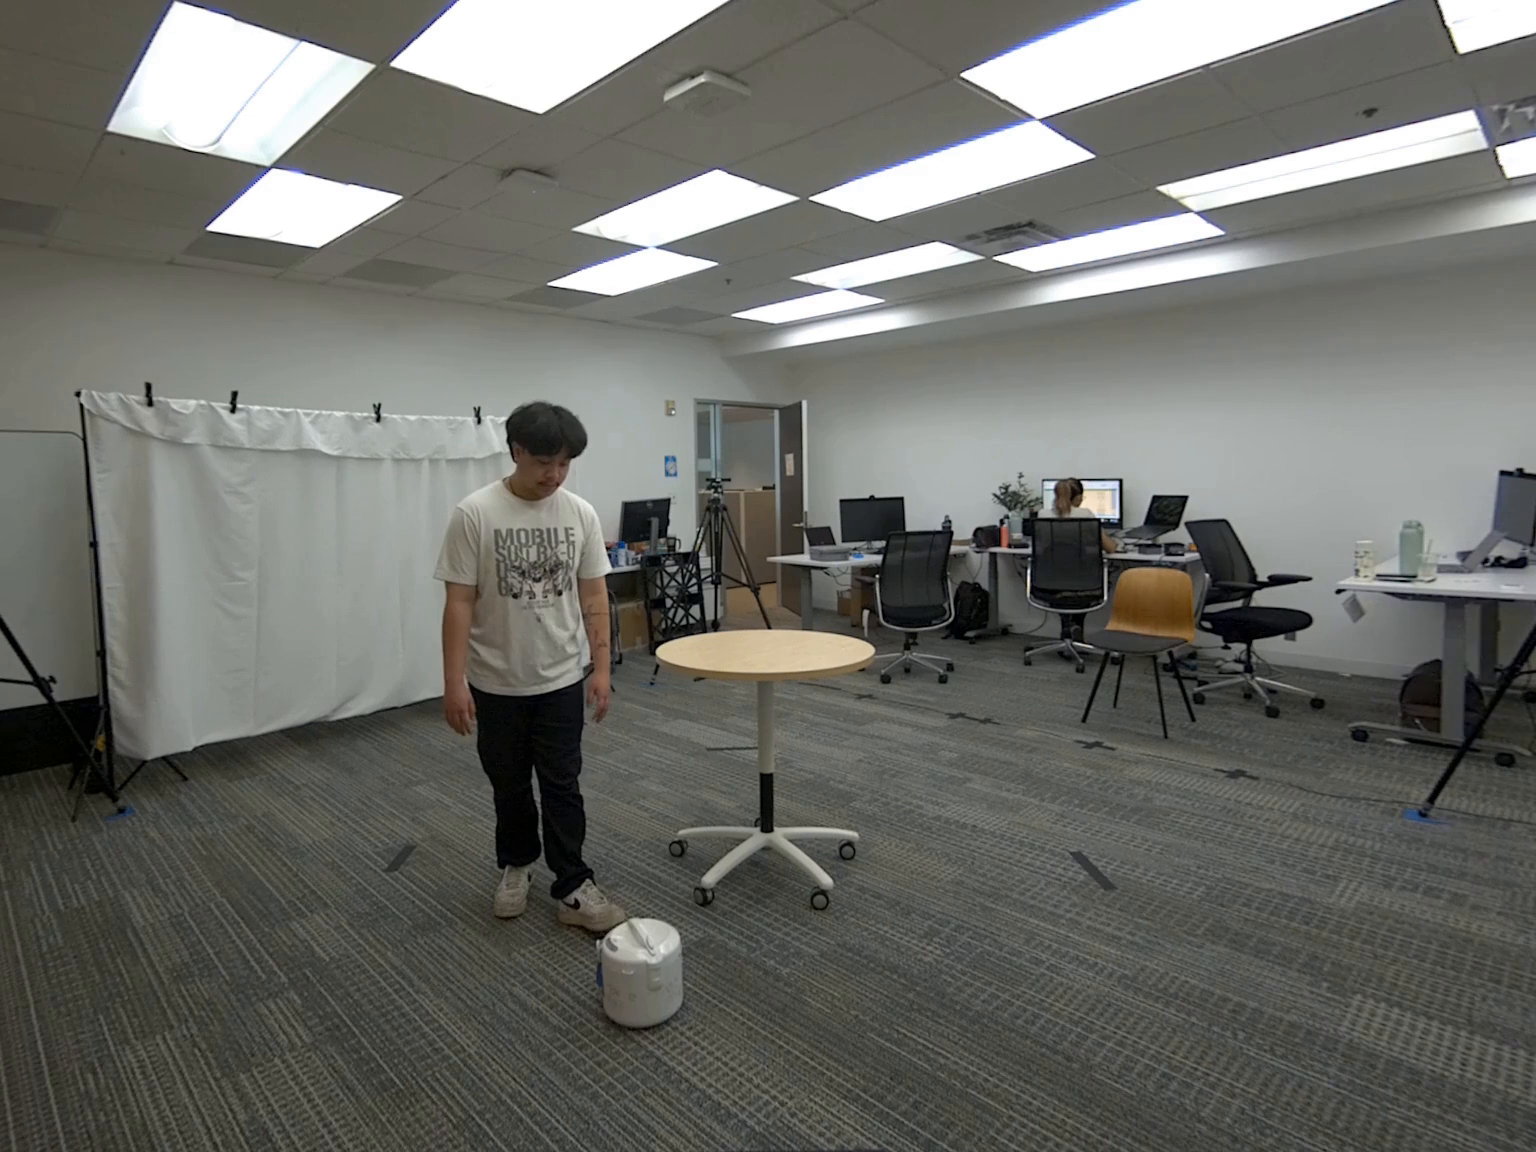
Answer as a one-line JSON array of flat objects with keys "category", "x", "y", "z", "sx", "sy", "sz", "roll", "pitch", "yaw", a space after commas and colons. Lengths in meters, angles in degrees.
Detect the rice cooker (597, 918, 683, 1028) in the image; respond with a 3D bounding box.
[{"category": "rice cooker", "x": -0.324, "y": 1.033, "z": 2.257, "sx": 0.213, "sy": 0.232, "sz": 0.226, "roll": -4, "pitch": 6, "yaw": -26}]
